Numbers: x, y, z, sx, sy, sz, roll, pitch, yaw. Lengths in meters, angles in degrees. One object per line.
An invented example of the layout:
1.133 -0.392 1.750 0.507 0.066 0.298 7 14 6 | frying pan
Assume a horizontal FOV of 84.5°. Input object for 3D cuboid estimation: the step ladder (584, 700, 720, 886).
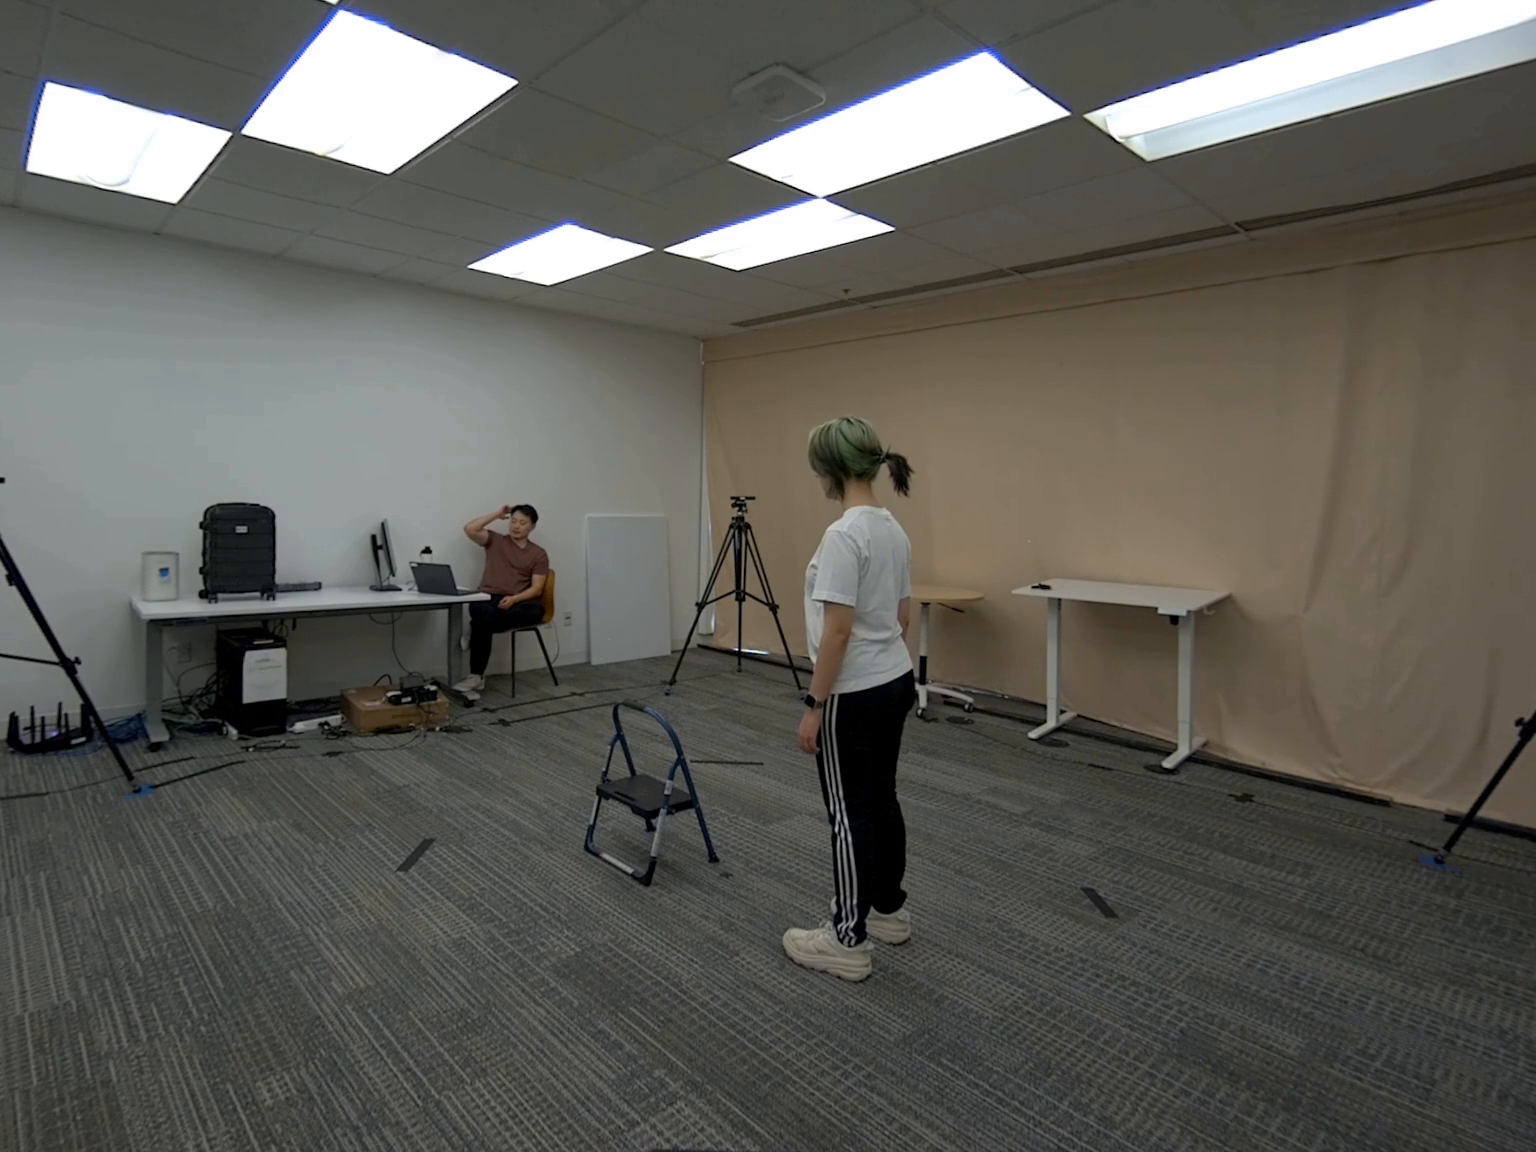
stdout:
-0.453 0.782 3.243 0.341 0.605 0.441 -1 4 -44 | step ladder
